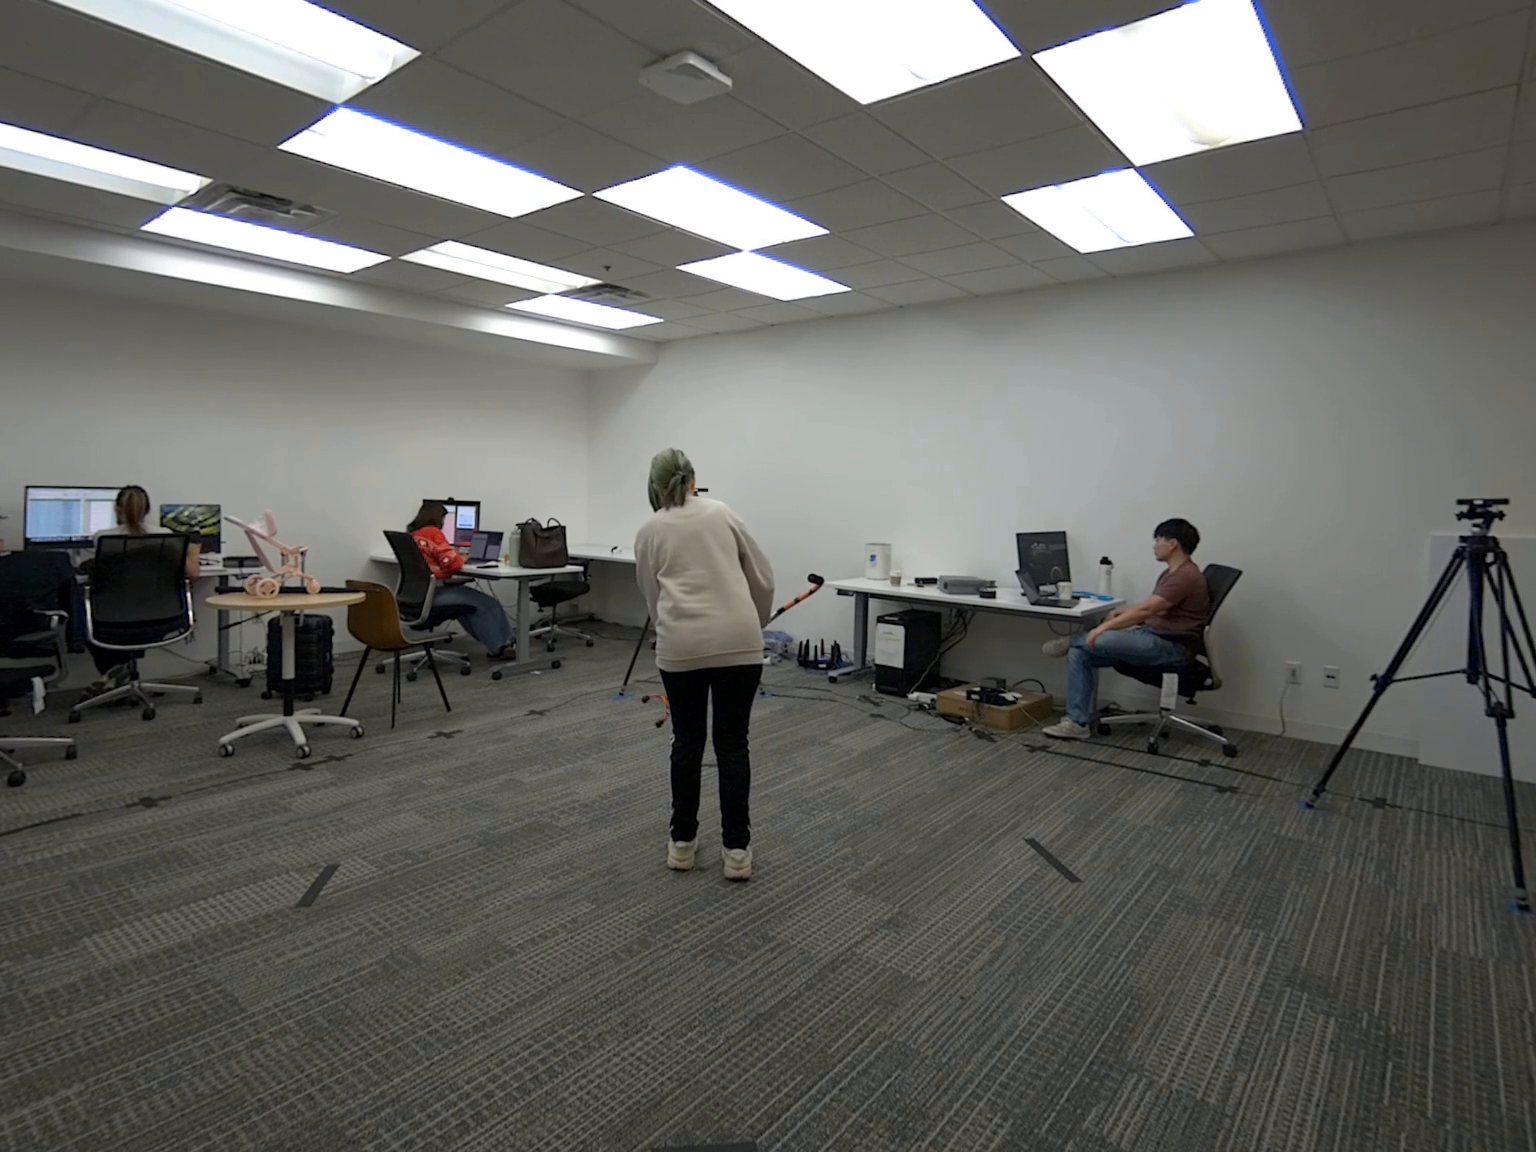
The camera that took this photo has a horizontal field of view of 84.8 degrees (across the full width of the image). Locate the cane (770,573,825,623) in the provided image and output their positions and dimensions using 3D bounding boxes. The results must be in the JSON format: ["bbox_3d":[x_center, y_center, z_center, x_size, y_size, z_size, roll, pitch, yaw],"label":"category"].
[{"bbox_3d":[-0.127,0.307,3.513,0.910,0.156,0.200,-40,-22,14],"label":"cane"}]
